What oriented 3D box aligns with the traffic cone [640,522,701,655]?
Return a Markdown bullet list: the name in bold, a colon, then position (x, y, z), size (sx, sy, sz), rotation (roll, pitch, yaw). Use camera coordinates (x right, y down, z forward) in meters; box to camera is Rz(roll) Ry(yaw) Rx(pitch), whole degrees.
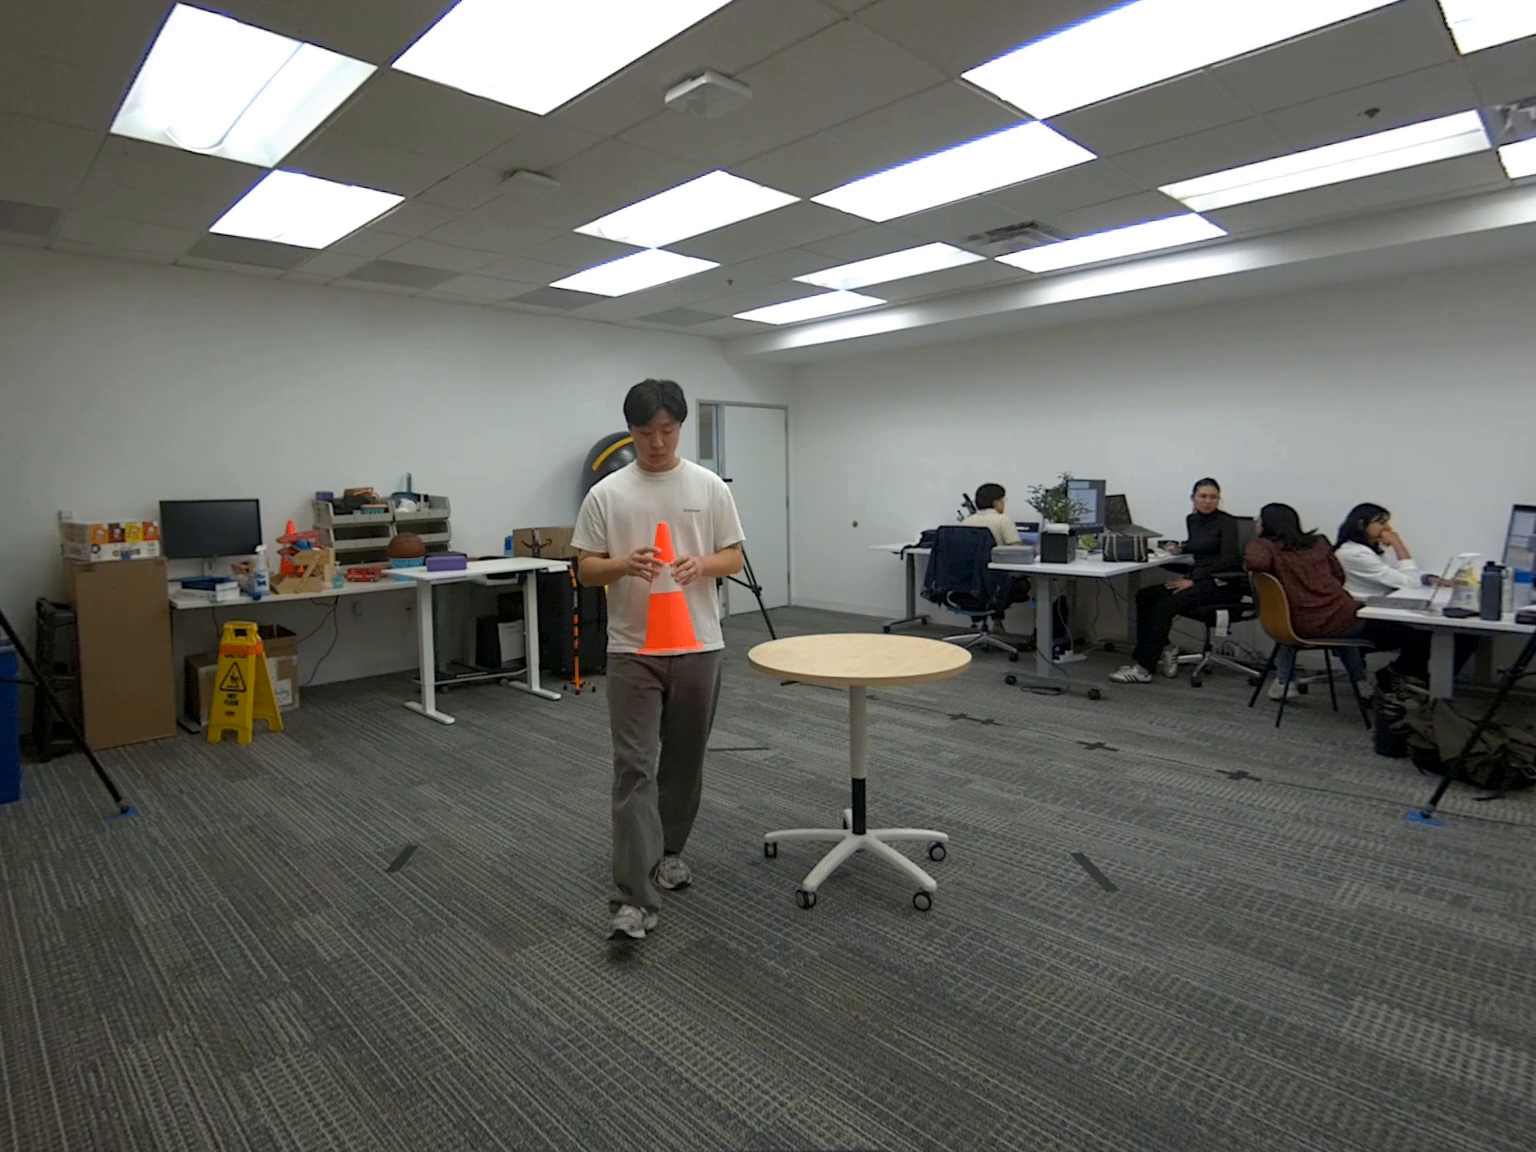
- **traffic cone**: position (-0.312, 0.034, 2.606), size (0.204, 0.384, 0.204), rotation (-6, -1, 3)
